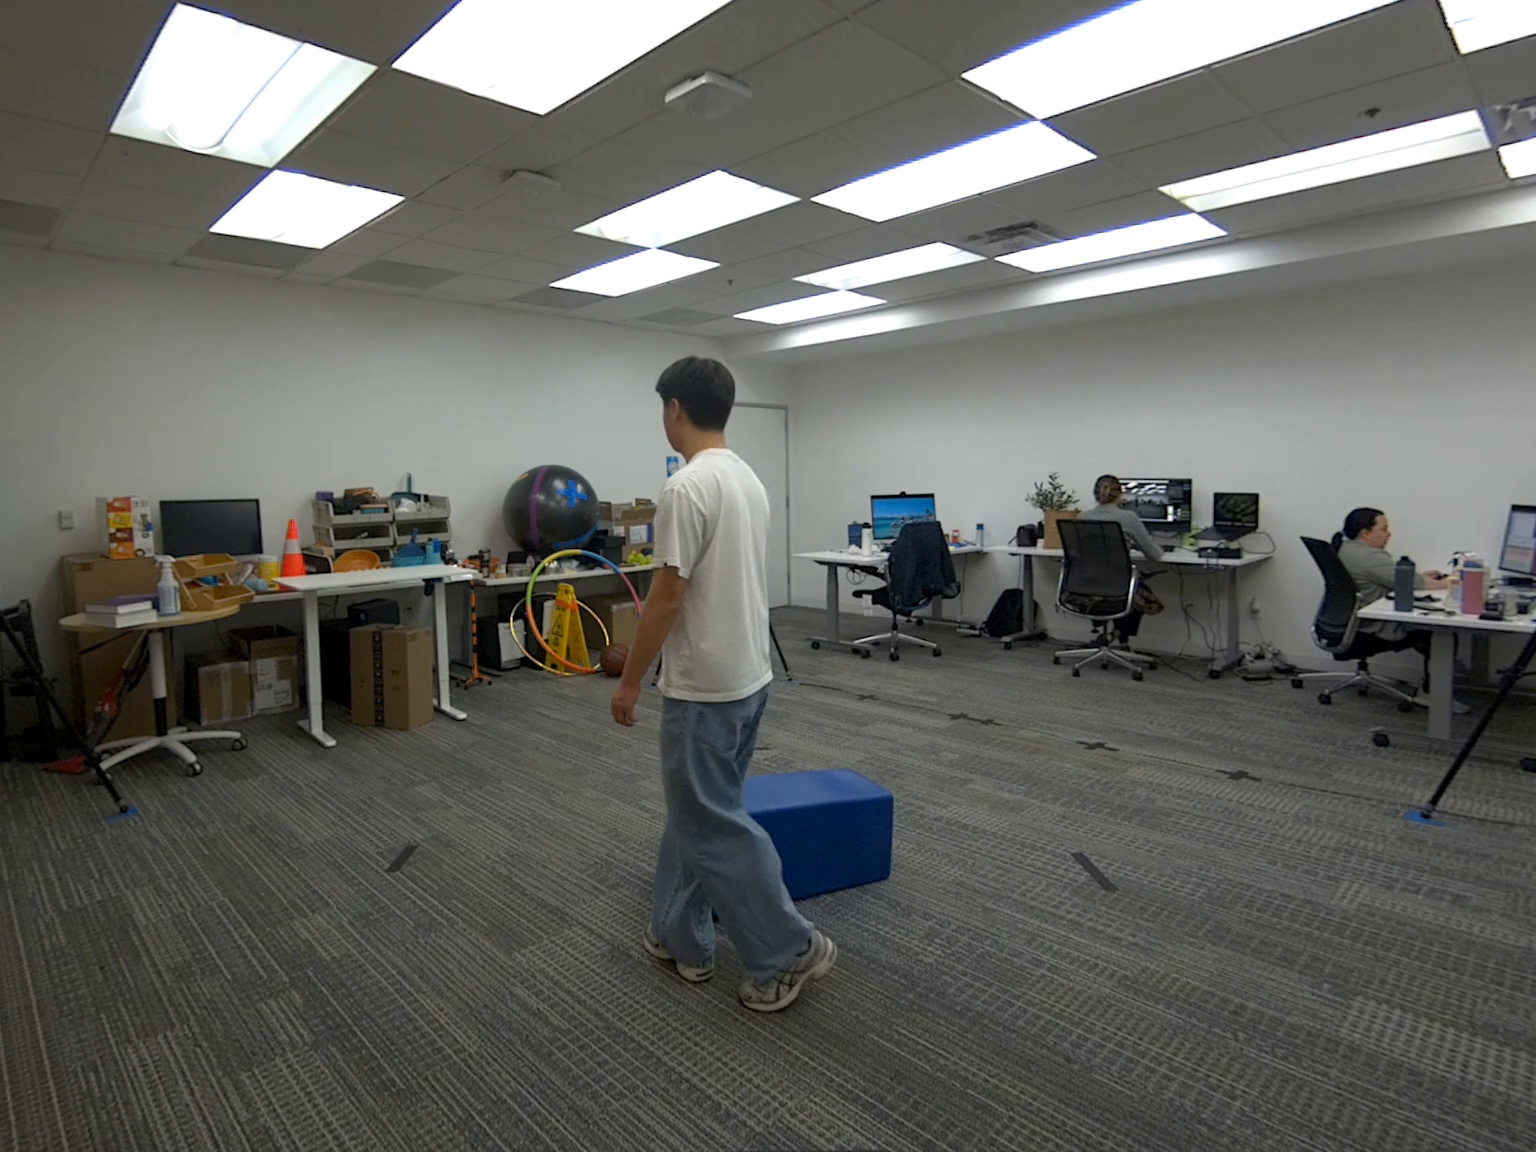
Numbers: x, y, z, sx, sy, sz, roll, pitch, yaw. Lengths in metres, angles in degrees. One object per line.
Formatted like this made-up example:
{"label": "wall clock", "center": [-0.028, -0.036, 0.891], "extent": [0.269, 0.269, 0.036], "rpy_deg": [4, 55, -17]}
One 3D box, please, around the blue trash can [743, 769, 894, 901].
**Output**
{"label": "blue trash can", "center": [0.050, 0.898, 2.965], "extent": [0.698, 0.377, 0.383], "rpy_deg": [-1, 4, -25]}
